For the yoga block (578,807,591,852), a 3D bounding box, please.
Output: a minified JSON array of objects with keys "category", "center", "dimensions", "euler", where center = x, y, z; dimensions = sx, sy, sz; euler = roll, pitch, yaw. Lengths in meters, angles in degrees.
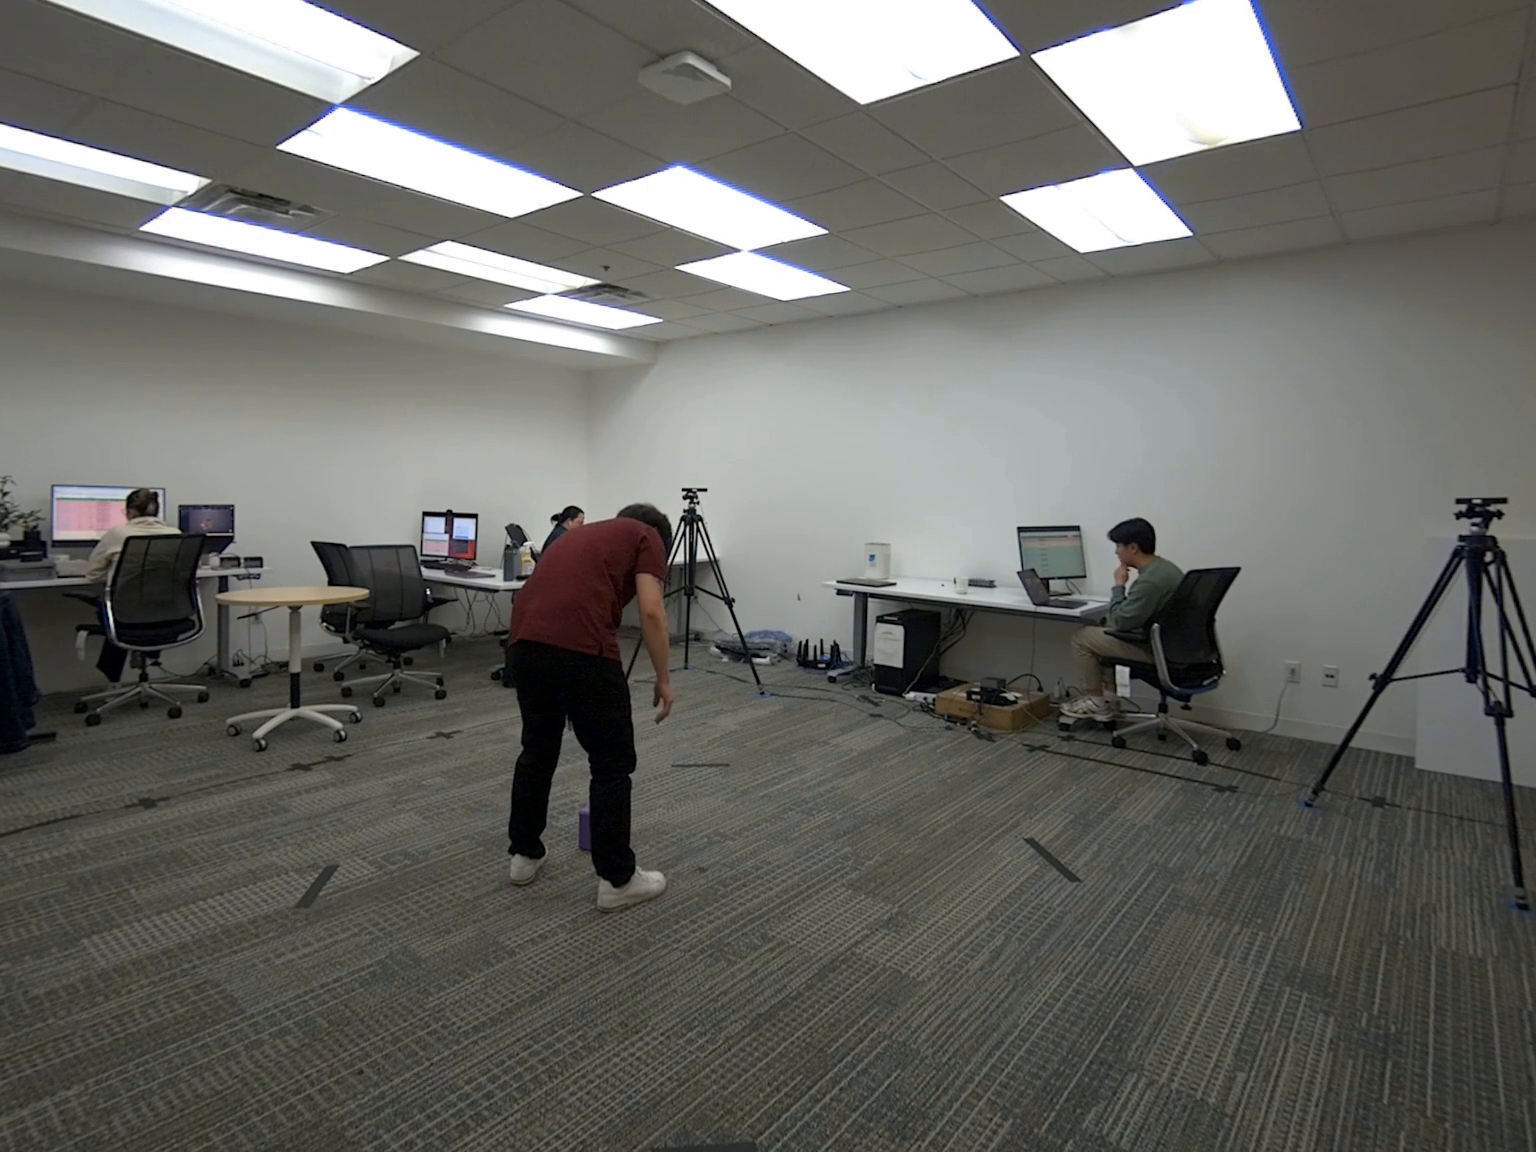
[{"category":"yoga block","center":[-0.671,0.956,3.351],"dimensions":[0.078,0.149,0.226],"euler":[0,3,14]}]
